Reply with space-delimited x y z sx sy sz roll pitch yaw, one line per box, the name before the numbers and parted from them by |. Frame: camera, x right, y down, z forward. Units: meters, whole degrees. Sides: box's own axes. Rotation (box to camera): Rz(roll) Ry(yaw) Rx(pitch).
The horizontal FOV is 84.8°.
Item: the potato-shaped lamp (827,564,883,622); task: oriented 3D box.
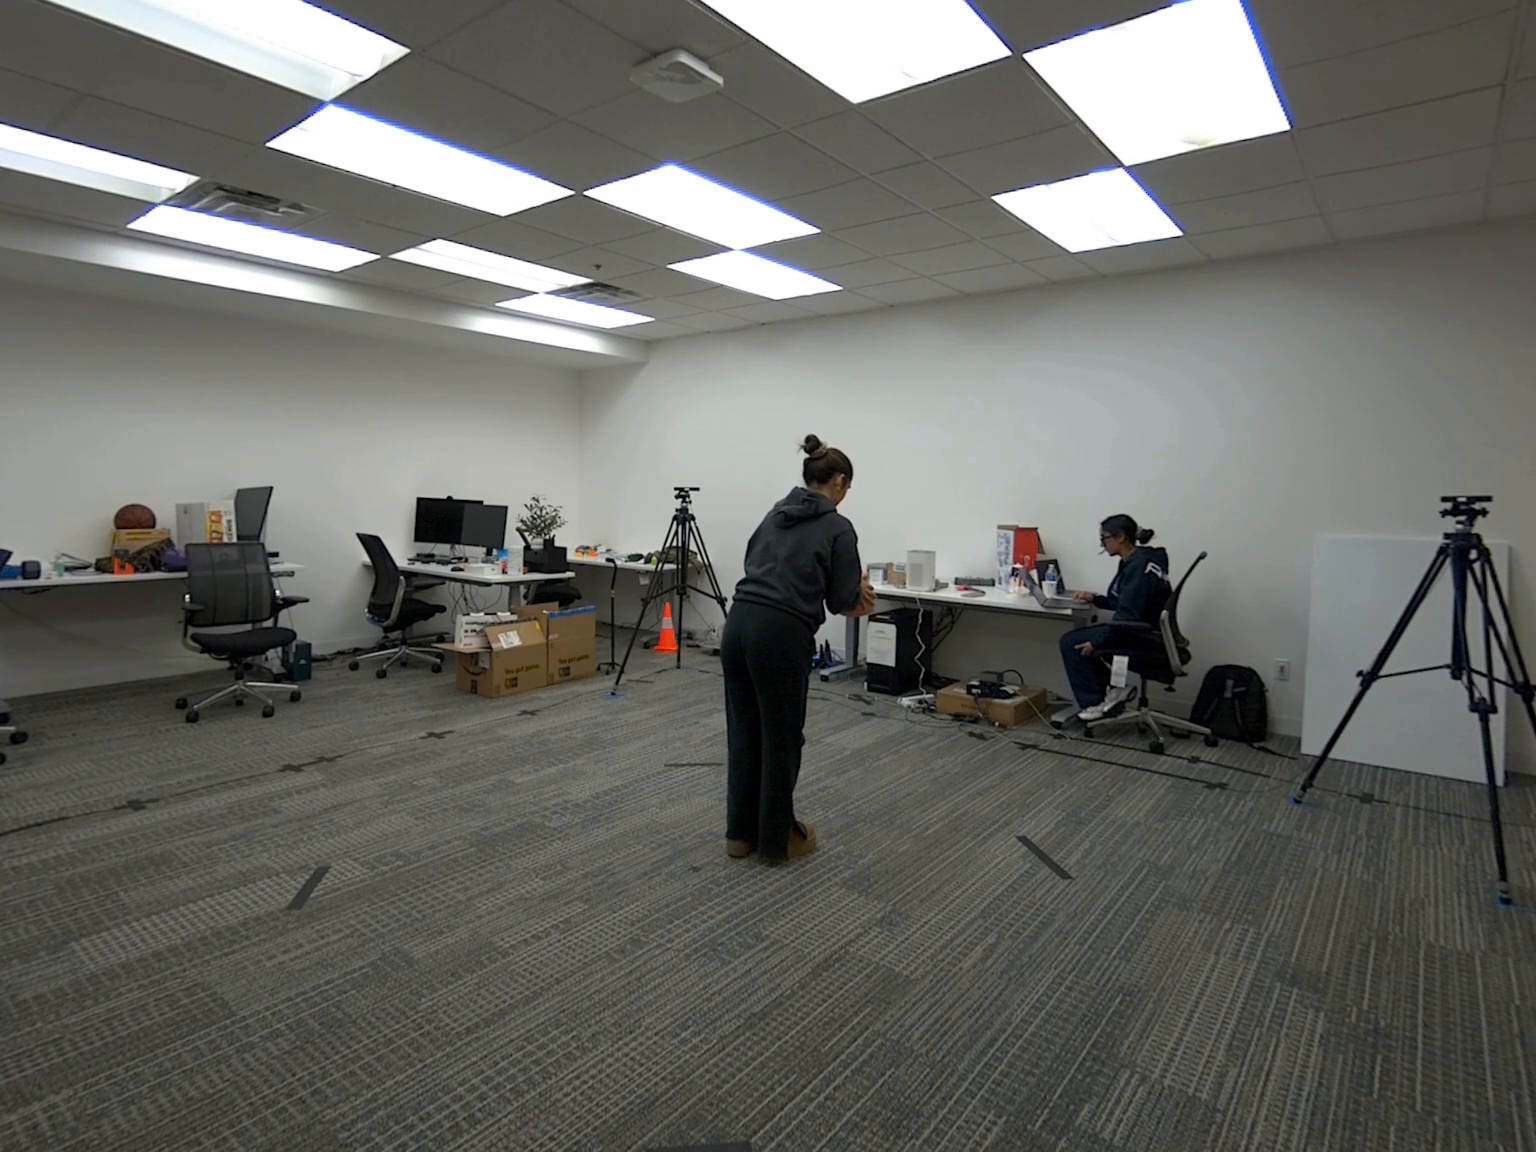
potato-shaped lamp | 0.341 0.061 3.432 0.167 0.196 0.170 -11 11 -43
